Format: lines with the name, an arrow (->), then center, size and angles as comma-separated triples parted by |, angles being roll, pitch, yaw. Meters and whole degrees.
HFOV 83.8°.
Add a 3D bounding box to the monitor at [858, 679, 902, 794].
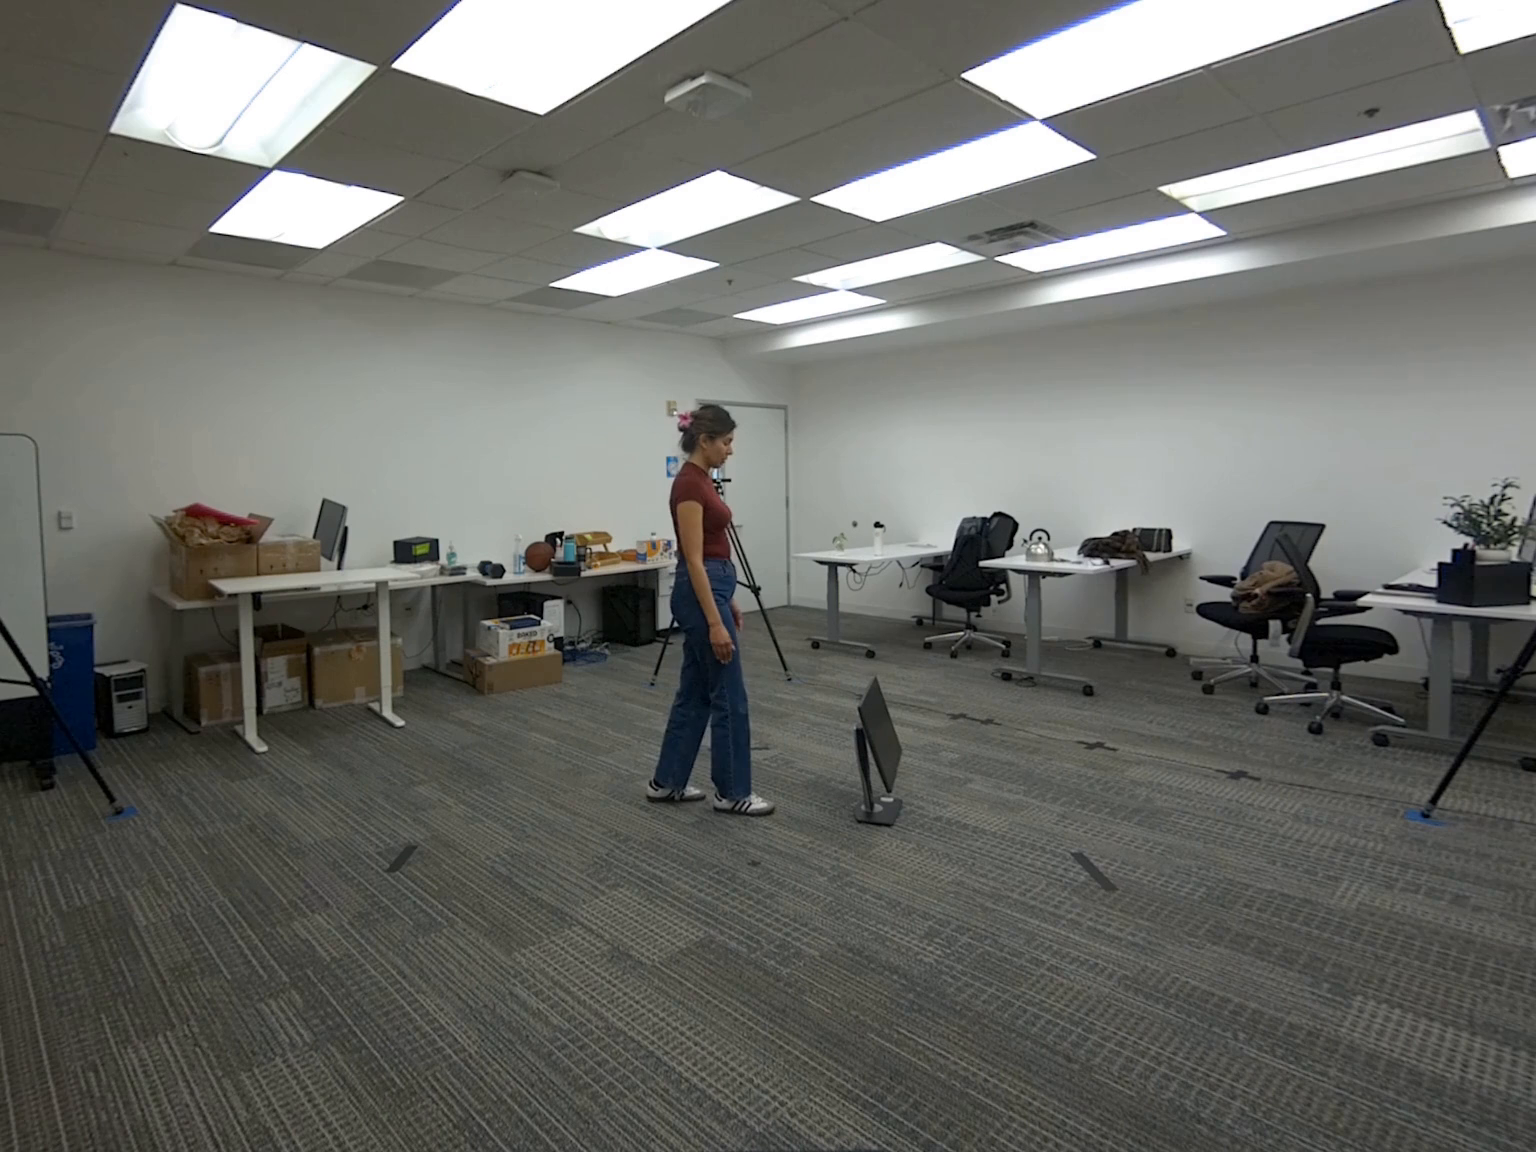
monitor -> 0.440, 0.732, 3.546 | 0.189, 0.521, 0.534 | -3, 4, 13
